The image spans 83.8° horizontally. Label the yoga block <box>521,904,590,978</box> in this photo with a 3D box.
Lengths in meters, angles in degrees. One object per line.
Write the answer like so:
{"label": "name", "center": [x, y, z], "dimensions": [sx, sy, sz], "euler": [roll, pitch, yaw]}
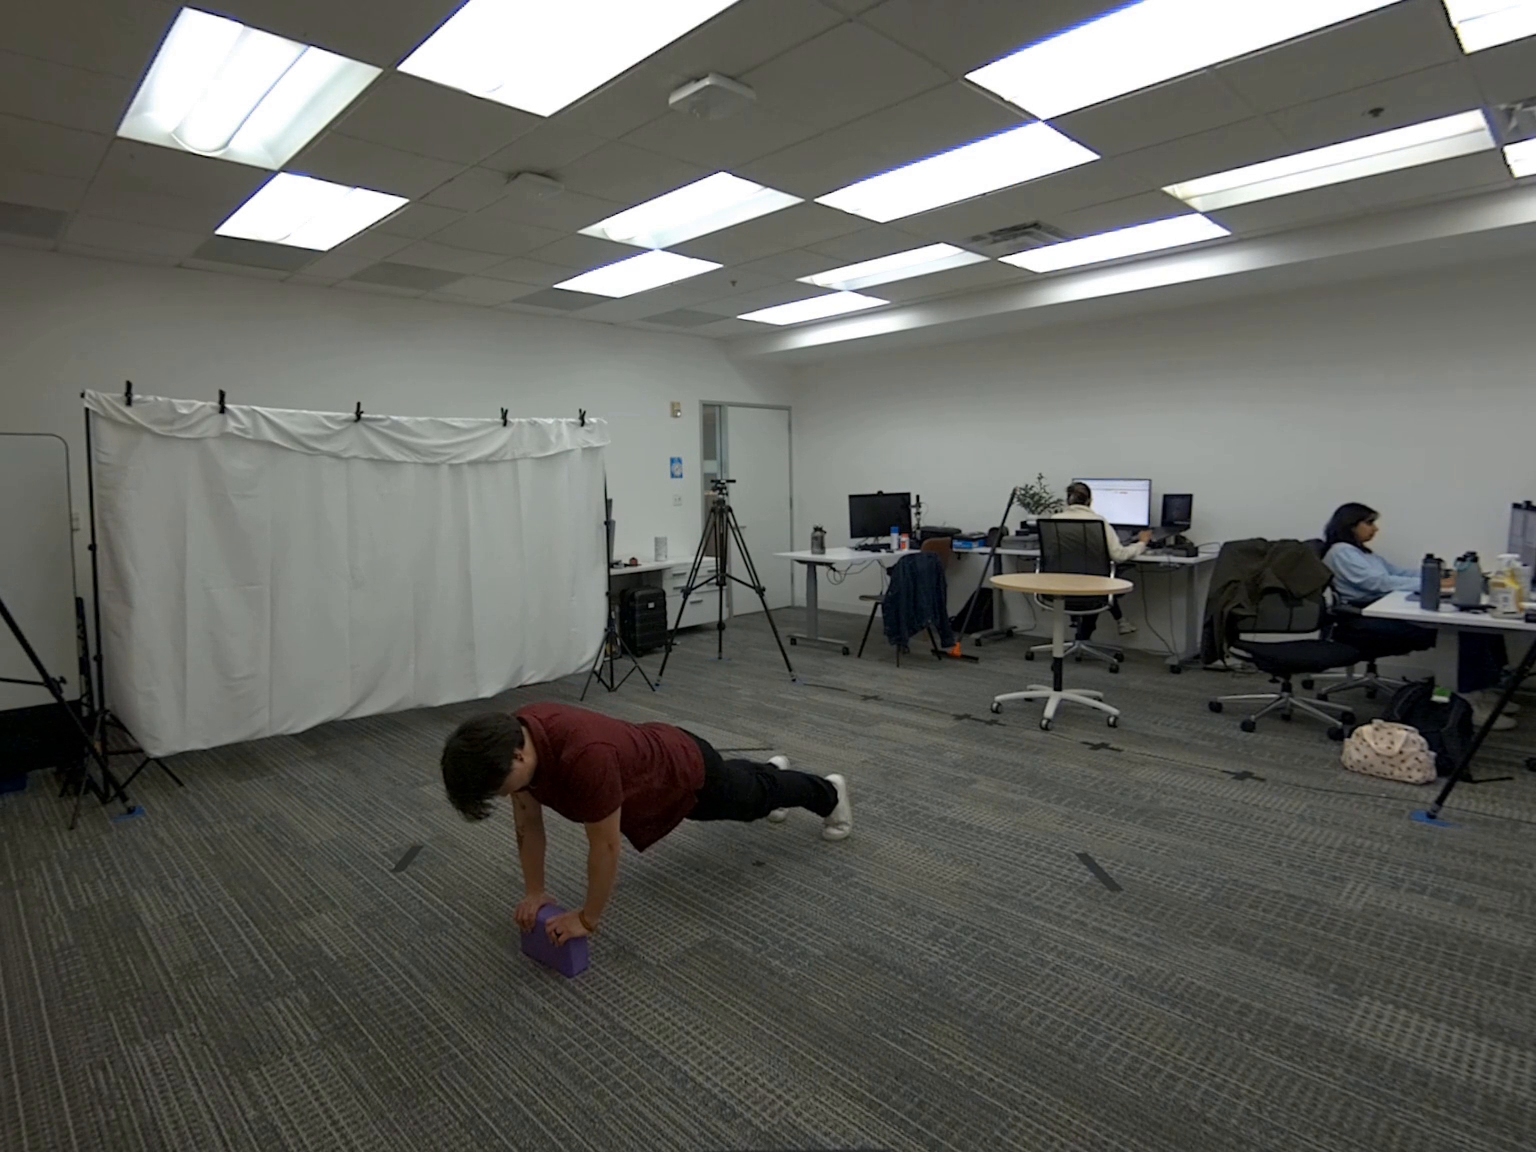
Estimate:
{"label": "yoga block", "center": [-0.622, 1.061, 2.502], "dimensions": [0.236, 0.148, 0.075], "euler": [4, 10, 39]}
